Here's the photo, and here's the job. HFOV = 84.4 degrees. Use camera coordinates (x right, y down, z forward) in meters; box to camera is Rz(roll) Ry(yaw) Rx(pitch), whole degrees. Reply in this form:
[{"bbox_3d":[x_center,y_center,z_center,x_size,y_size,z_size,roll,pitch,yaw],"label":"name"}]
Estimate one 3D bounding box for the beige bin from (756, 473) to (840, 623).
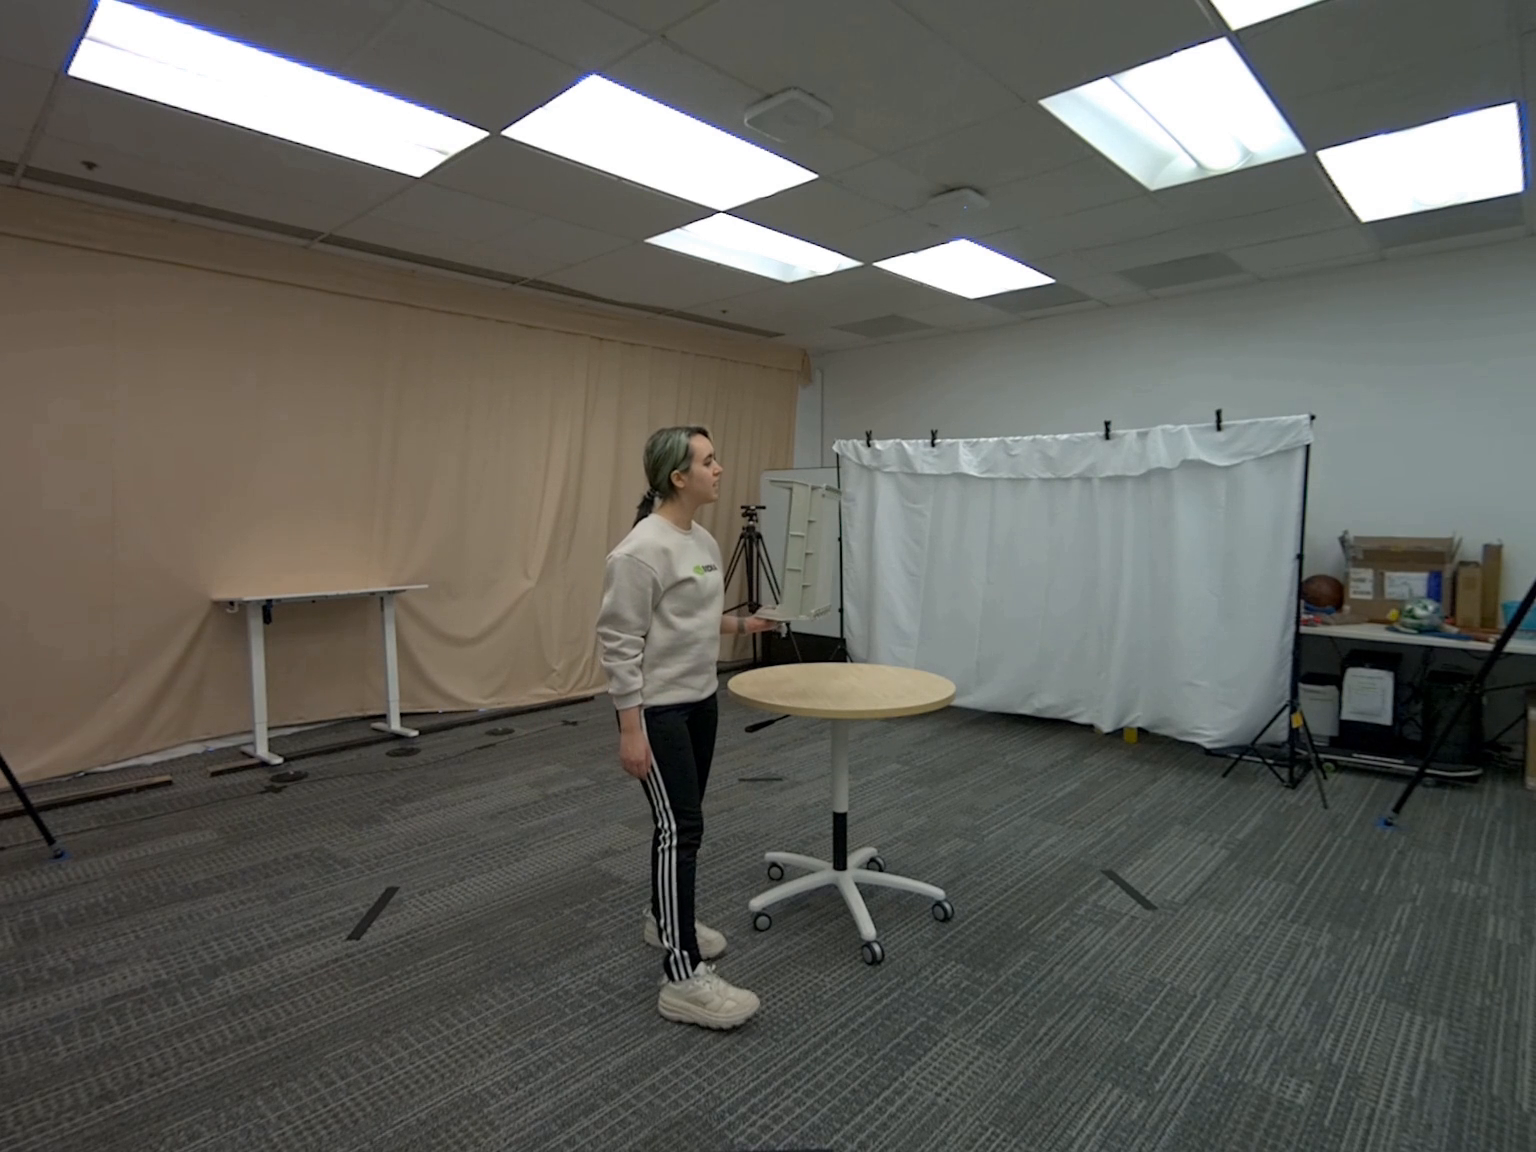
[{"bbox_3d":[0.105,-0.088,2.663,0.192,0.422,0.371,4,3,14],"label":"beige bin"}]
